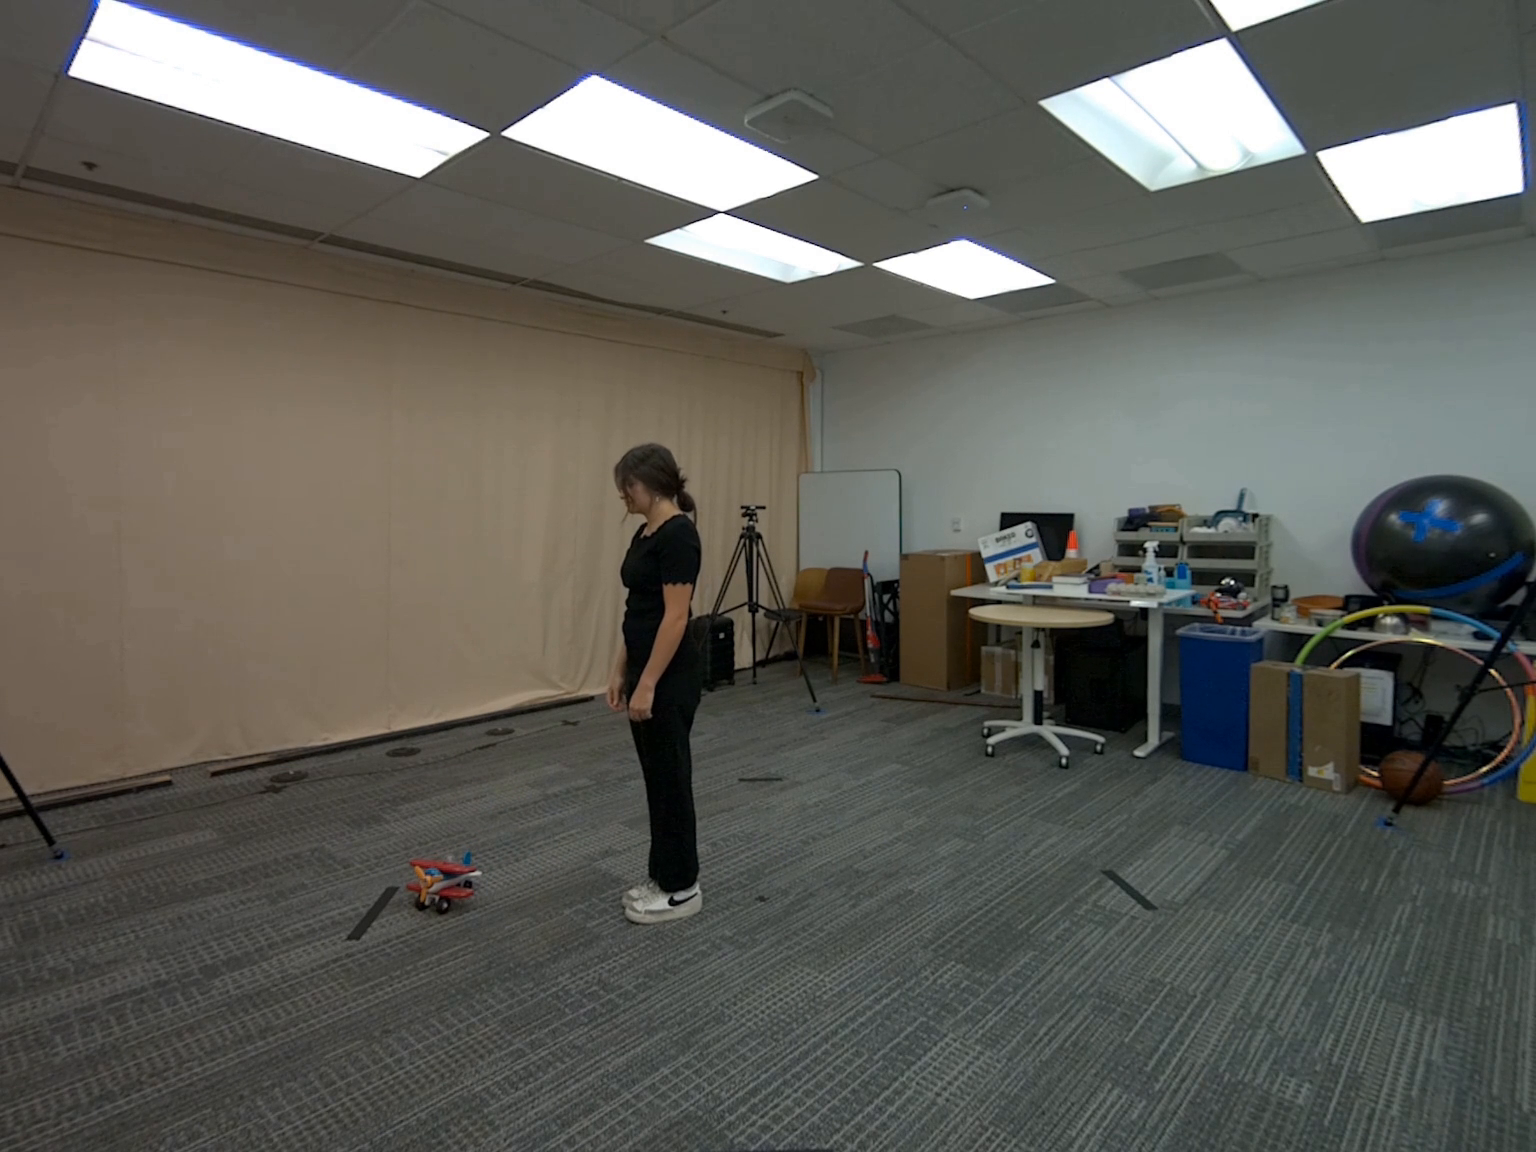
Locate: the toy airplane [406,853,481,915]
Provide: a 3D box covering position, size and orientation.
[{"bbox_3d":[-1.163,1.088,2.998,0.249,0.156,0.262,-1,5,-10],"label":"toy airplane"}]
